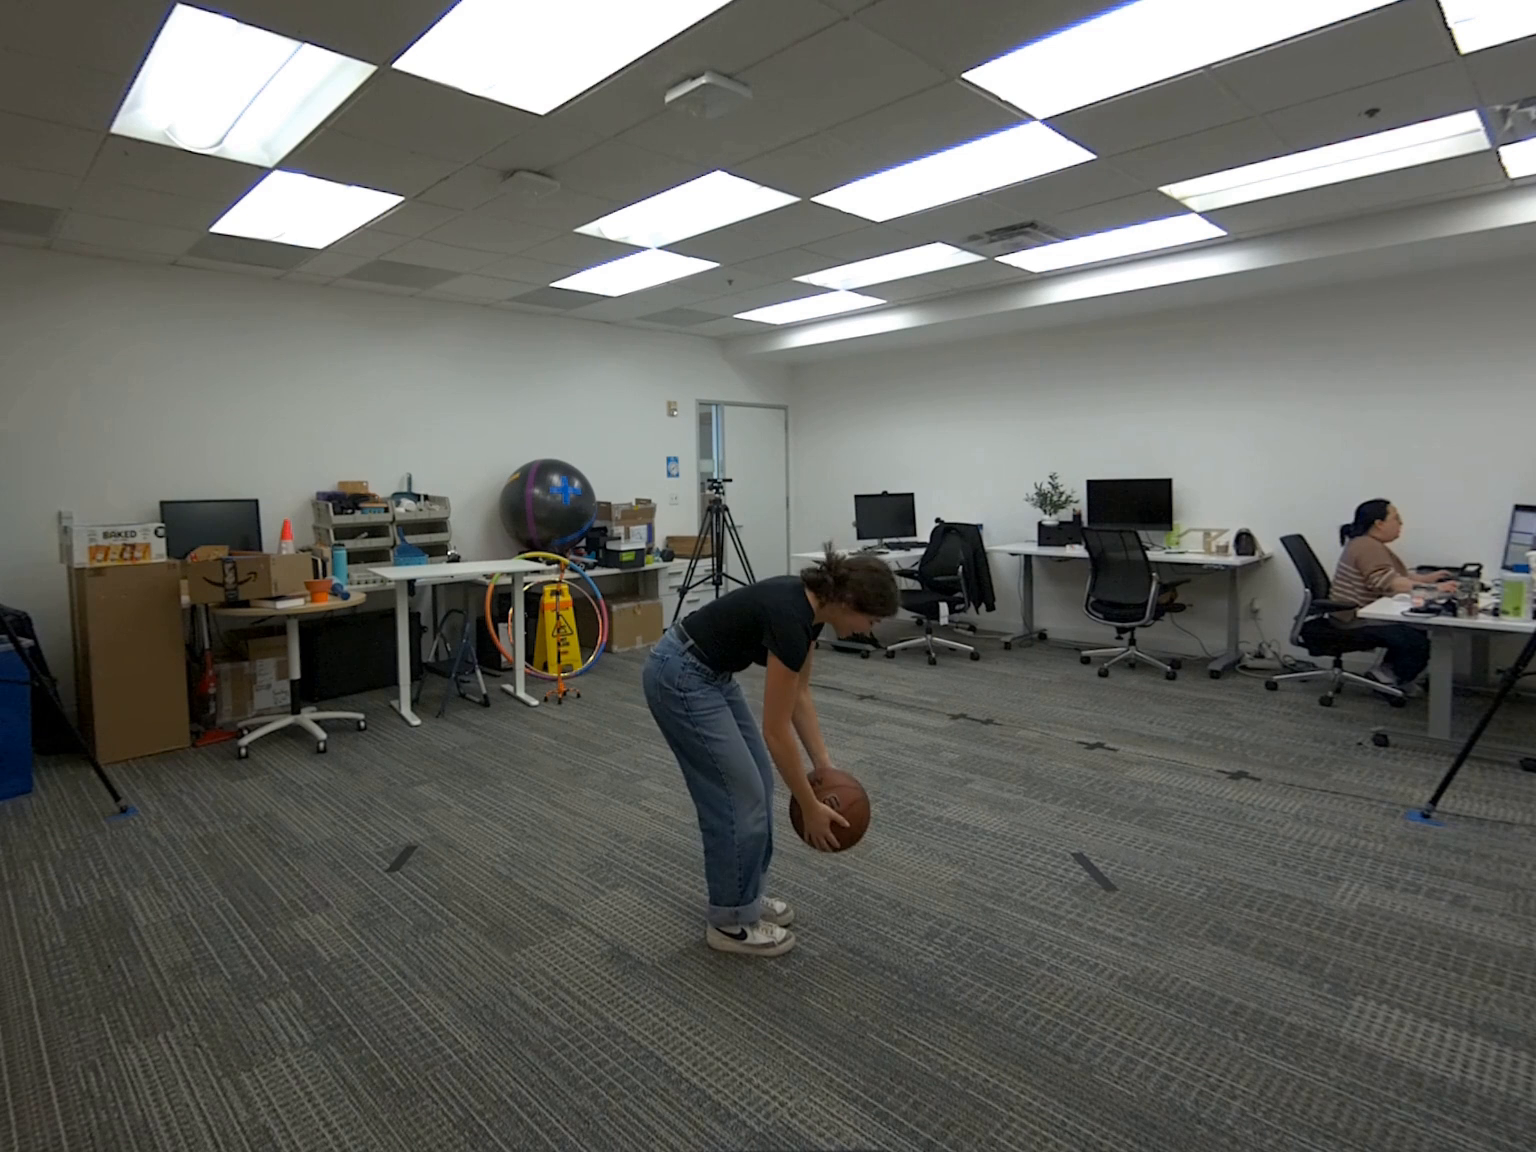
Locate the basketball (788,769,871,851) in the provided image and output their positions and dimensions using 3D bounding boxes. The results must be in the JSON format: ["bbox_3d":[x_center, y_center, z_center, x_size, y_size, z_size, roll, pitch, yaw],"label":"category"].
[{"bbox_3d":[0.178,0.681,2.524,0.236,0.235,0.237,-1,5,-2],"label":"basketball"}]
